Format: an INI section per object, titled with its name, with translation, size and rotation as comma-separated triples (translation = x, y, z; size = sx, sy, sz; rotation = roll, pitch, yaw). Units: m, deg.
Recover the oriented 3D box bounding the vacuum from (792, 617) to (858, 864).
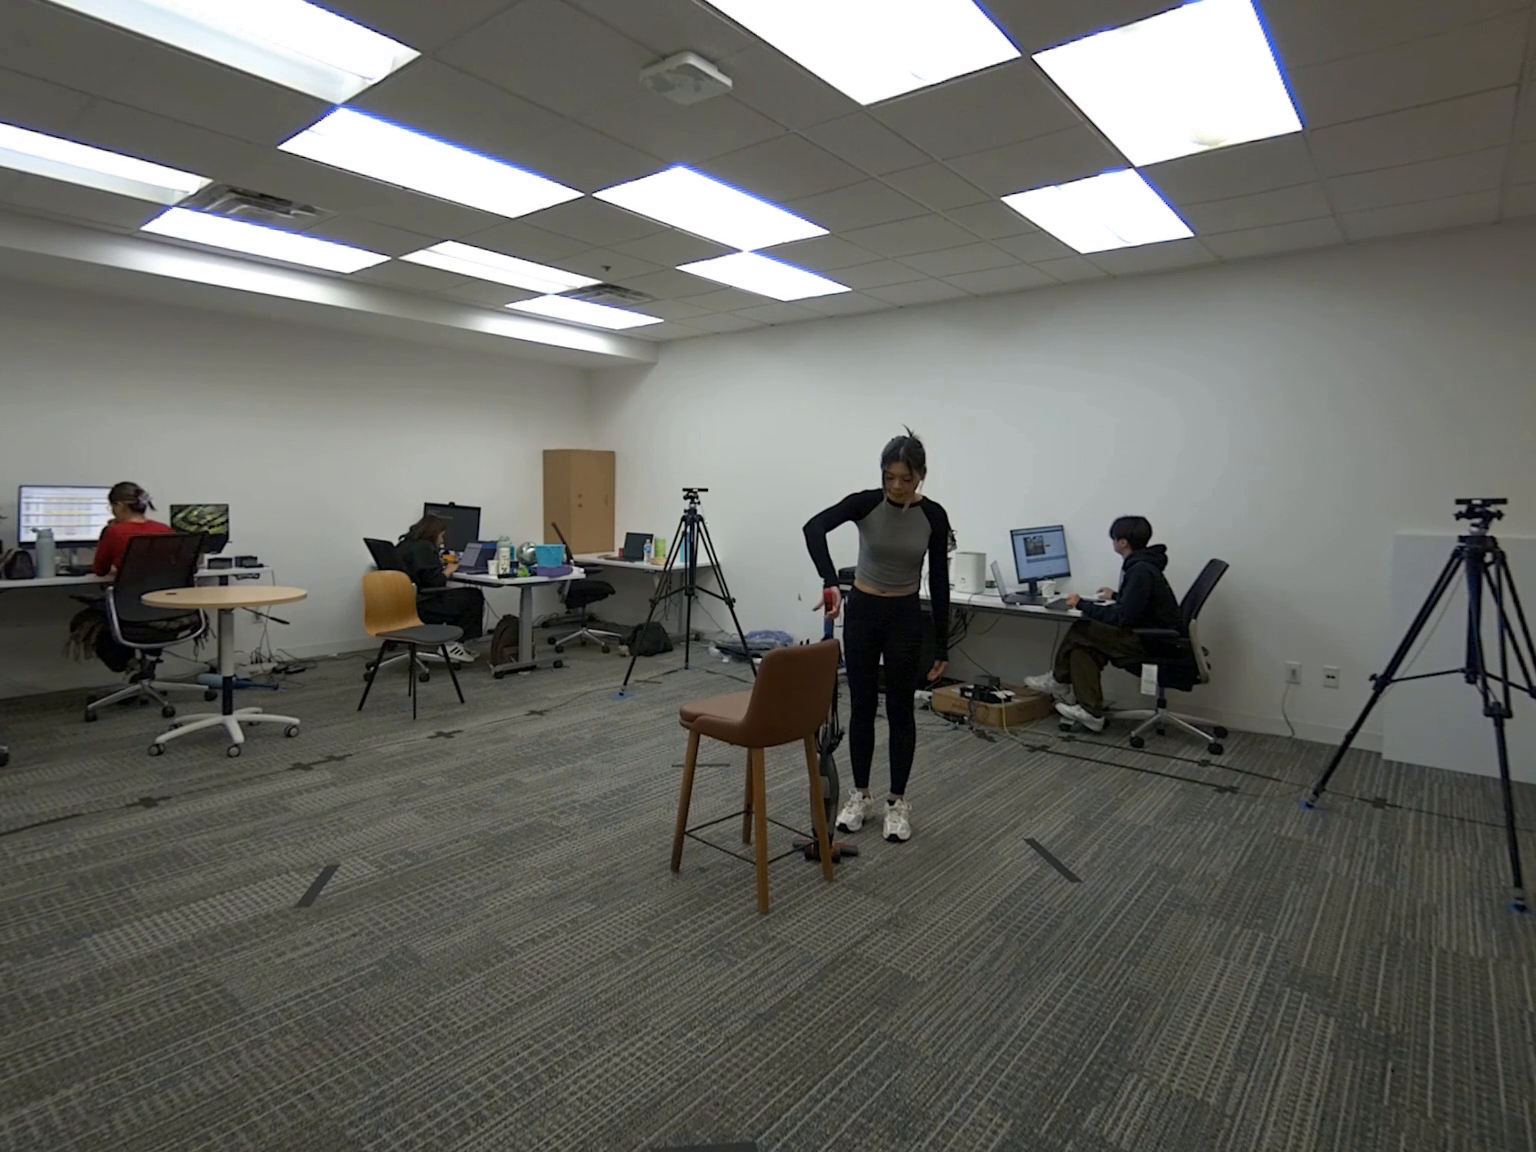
[vacuum]
translation = 0.209, 0.557, 3.169
size = 0.246, 1.045, 0.148
rotation = -7, 5, -41
